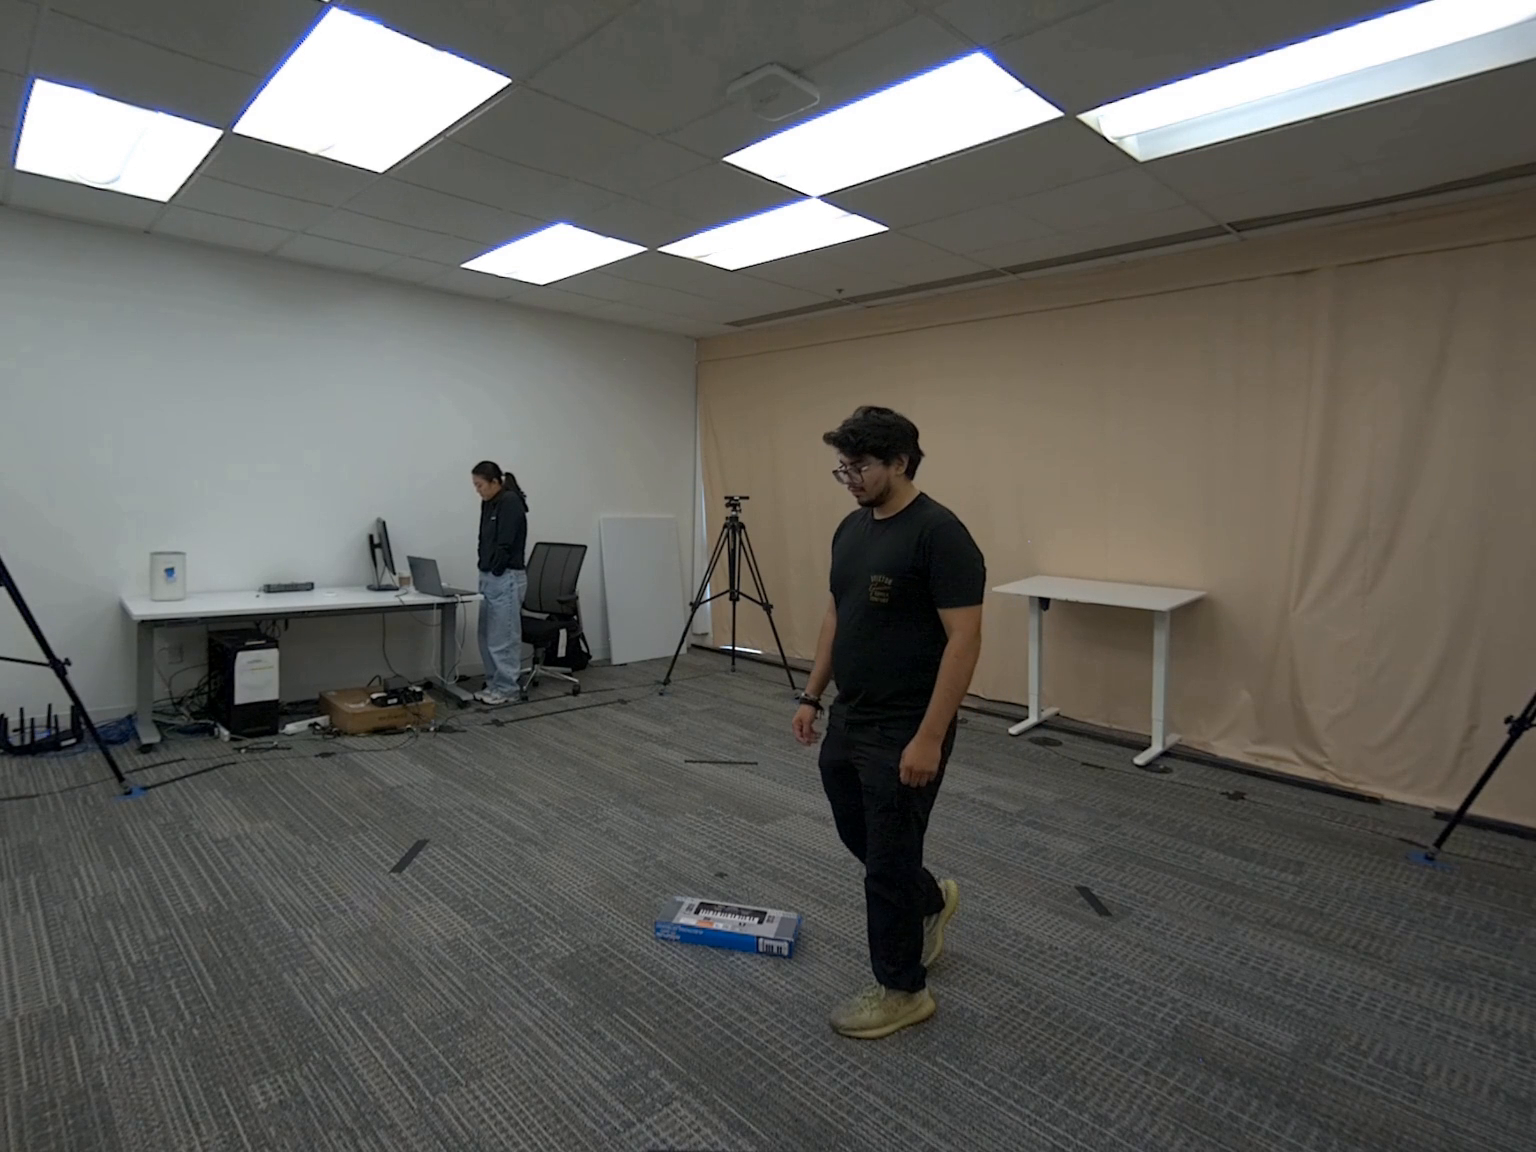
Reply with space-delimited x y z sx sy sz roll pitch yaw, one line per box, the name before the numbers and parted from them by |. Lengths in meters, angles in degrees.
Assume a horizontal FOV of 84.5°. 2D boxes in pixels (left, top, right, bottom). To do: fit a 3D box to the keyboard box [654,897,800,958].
keyboard box | -0.130 1.115 2.675 0.442 0.059 0.174 2 6 13
